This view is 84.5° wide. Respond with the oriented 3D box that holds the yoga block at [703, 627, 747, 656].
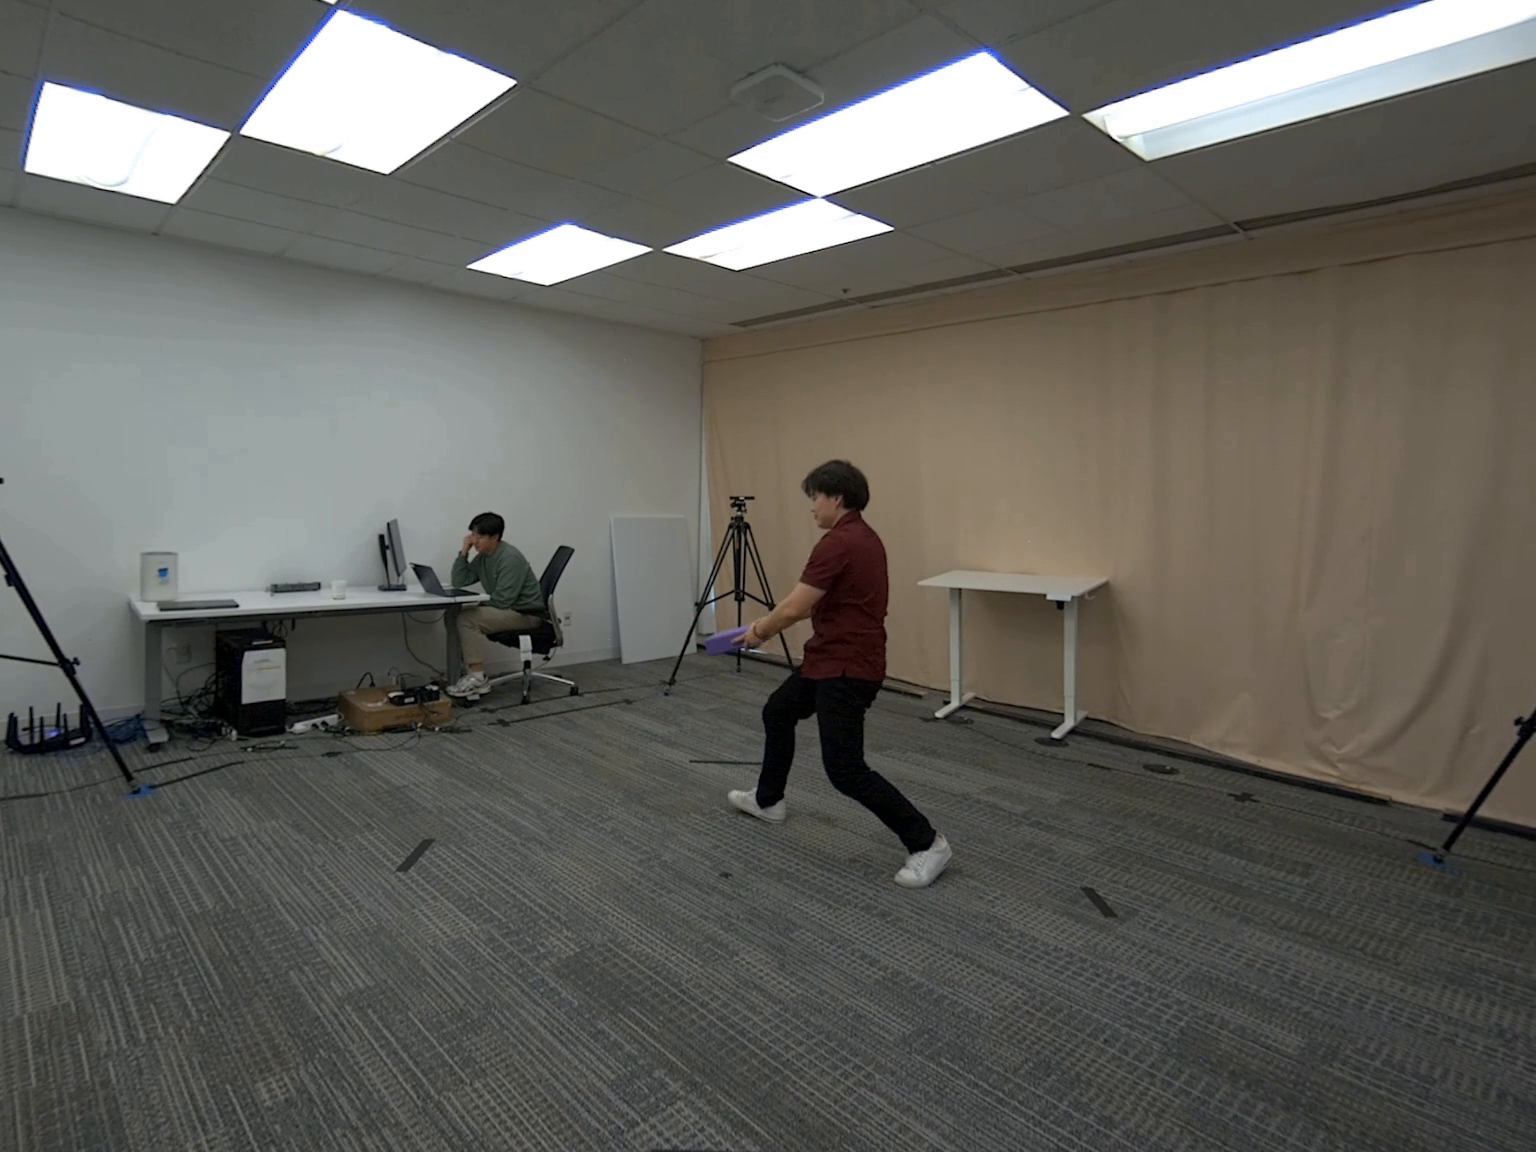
[{"bbox_3d":[-0.140,0.258,3.539,0.232,0.076,0.147,-10,1,21],"label":"yoga block"}]
